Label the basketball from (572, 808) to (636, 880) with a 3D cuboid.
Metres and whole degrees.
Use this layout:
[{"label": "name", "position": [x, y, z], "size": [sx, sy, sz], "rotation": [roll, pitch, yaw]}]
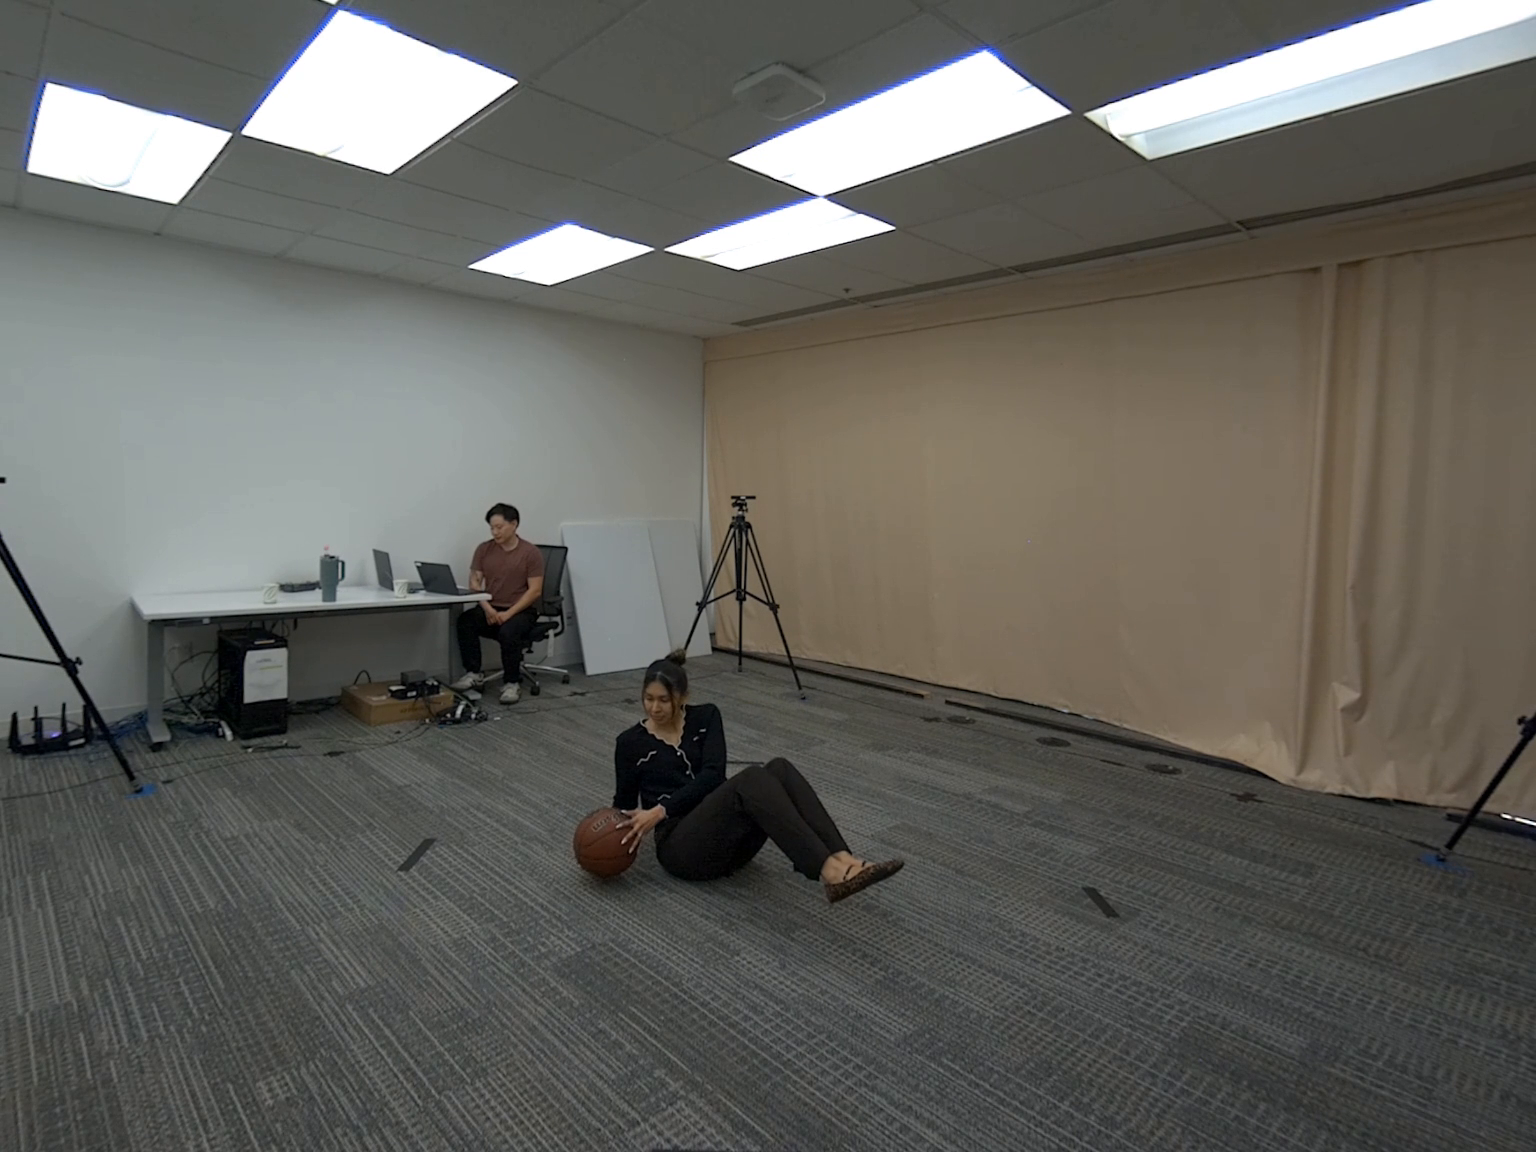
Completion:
[{"label": "basketball", "position": [-0.575, 0.925, 3.003], "size": [0.236, 0.235, 0.237], "rotation": [1, 4, -1]}]
